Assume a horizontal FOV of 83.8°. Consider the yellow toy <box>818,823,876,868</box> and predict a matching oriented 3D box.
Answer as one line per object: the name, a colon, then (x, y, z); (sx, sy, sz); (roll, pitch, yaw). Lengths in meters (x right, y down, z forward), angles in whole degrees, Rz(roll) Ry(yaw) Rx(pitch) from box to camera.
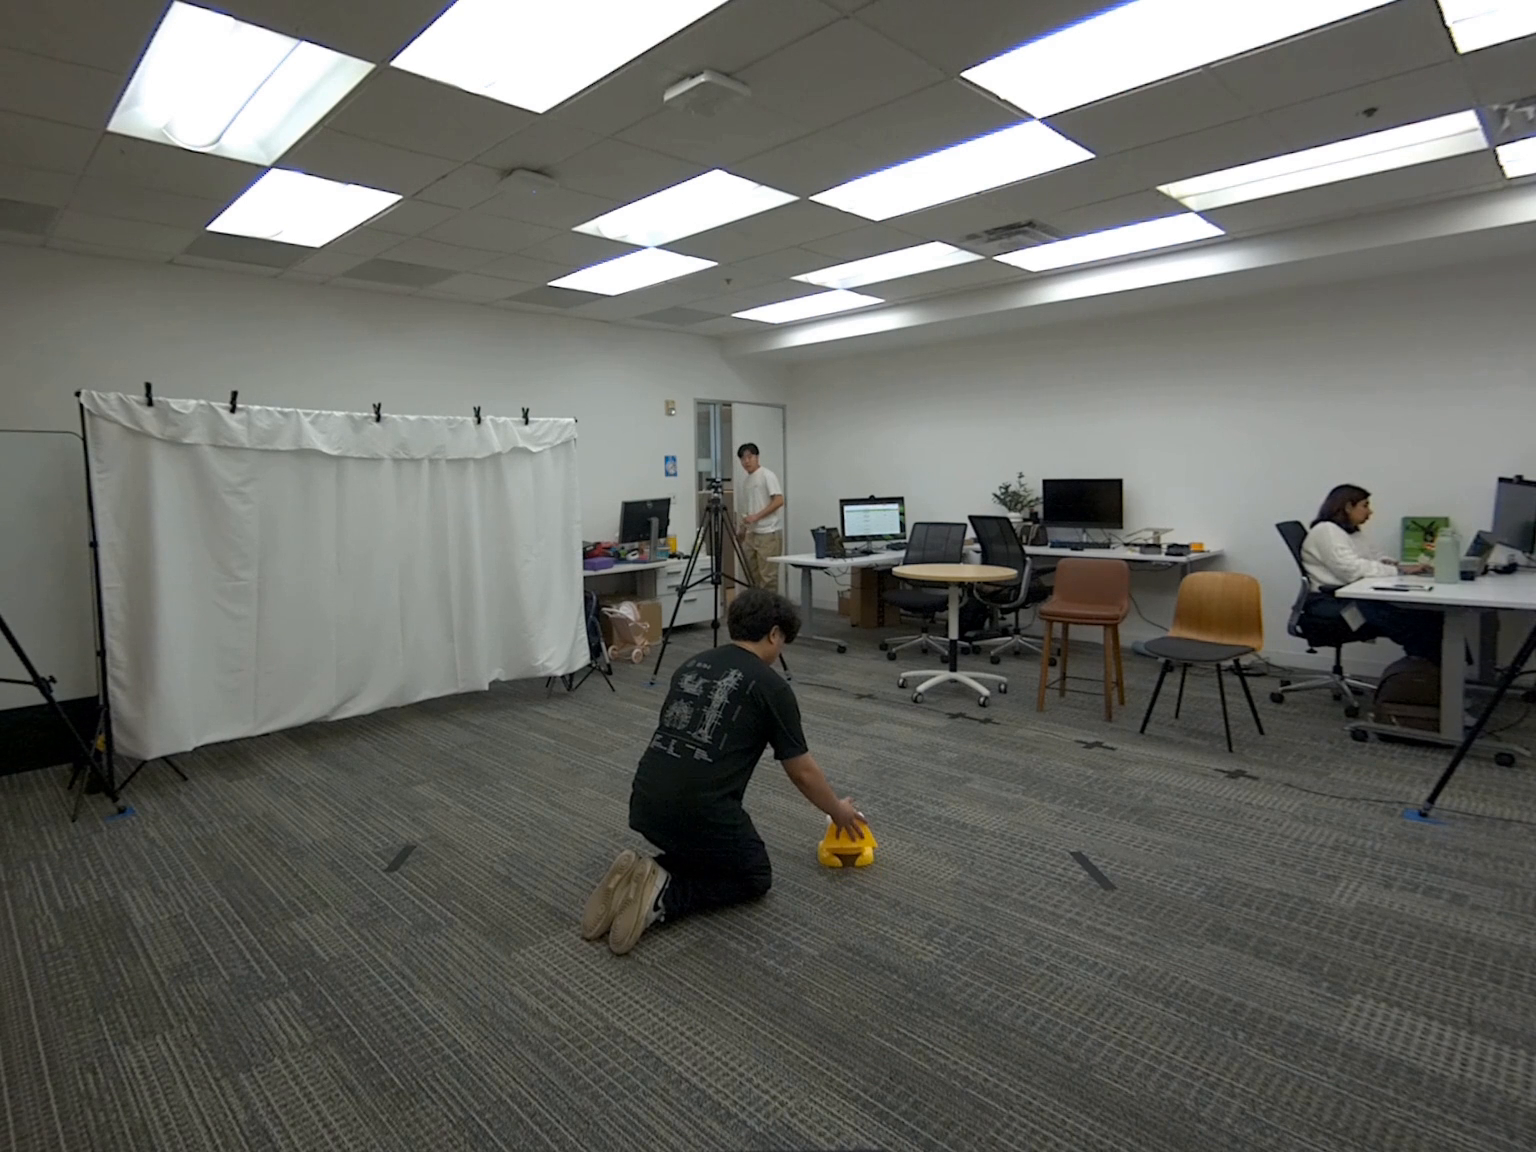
yellow toy: (0.283, 0.921, 3.129); (0.204, 0.230, 0.194); (-1, 5, -3)
